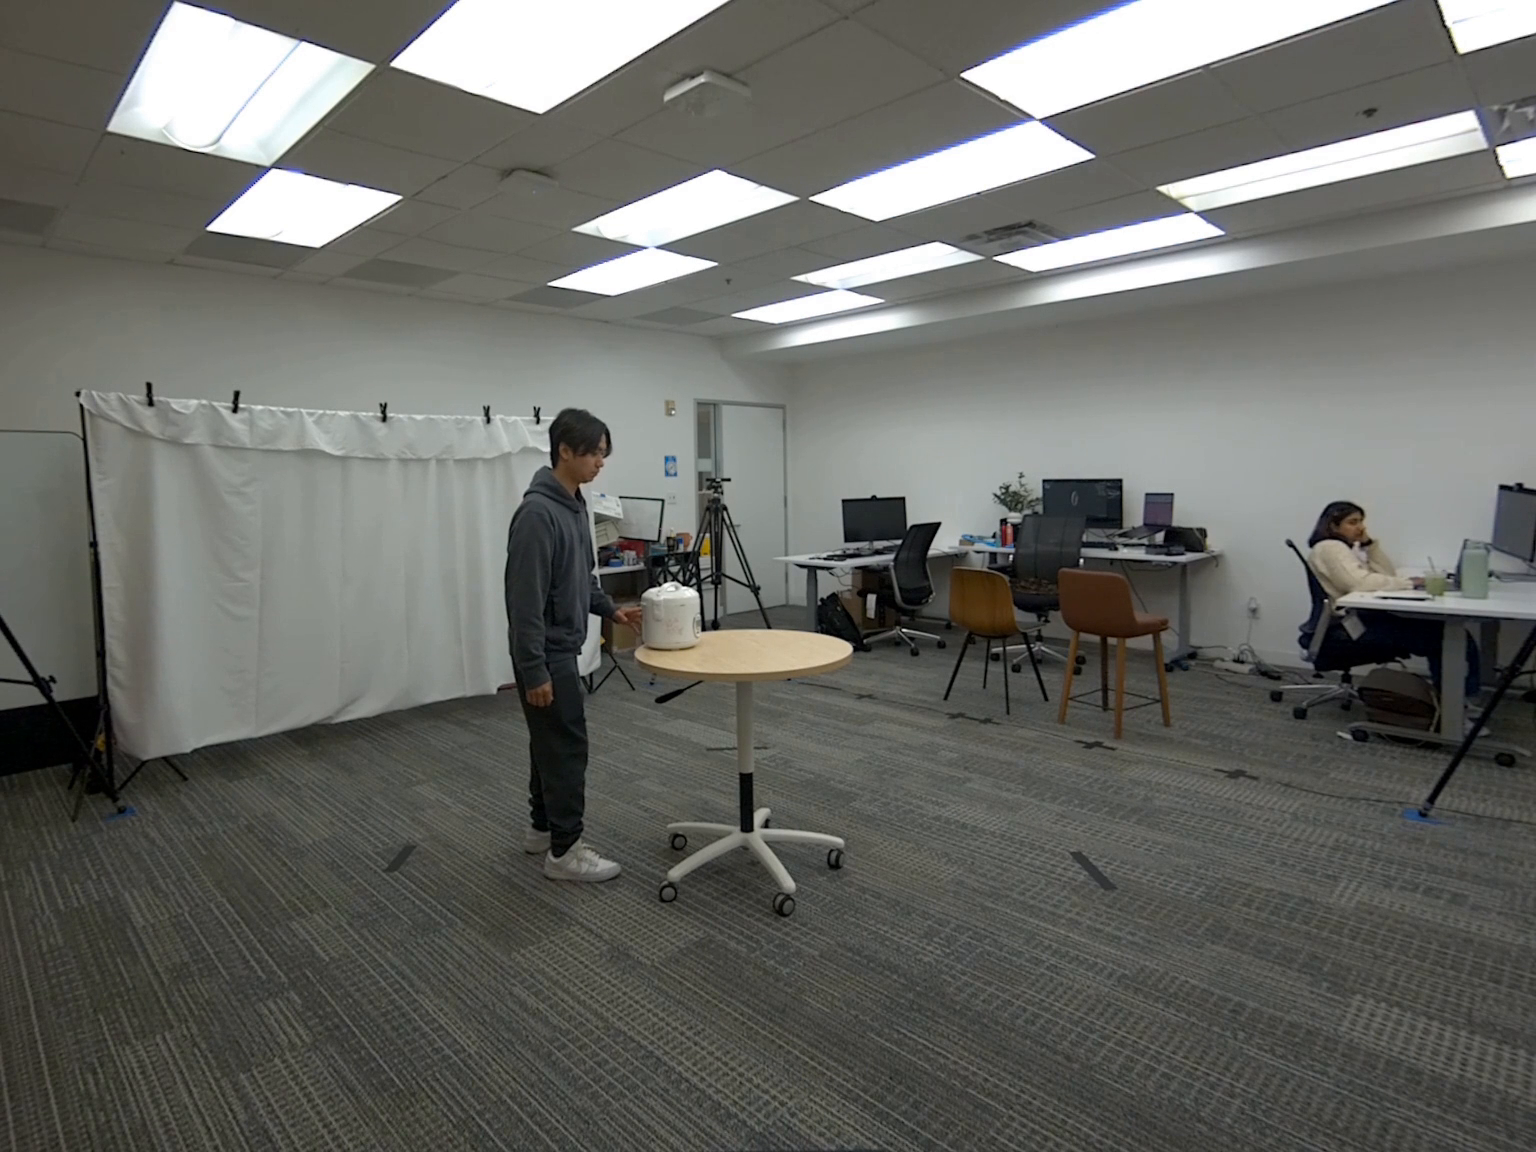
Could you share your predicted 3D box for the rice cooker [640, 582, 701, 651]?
[{"bbox_3d":[-0.349,0.137,3.087,0.222,0.232,0.217,-1,5,23],"label":"rice cooker"}]
